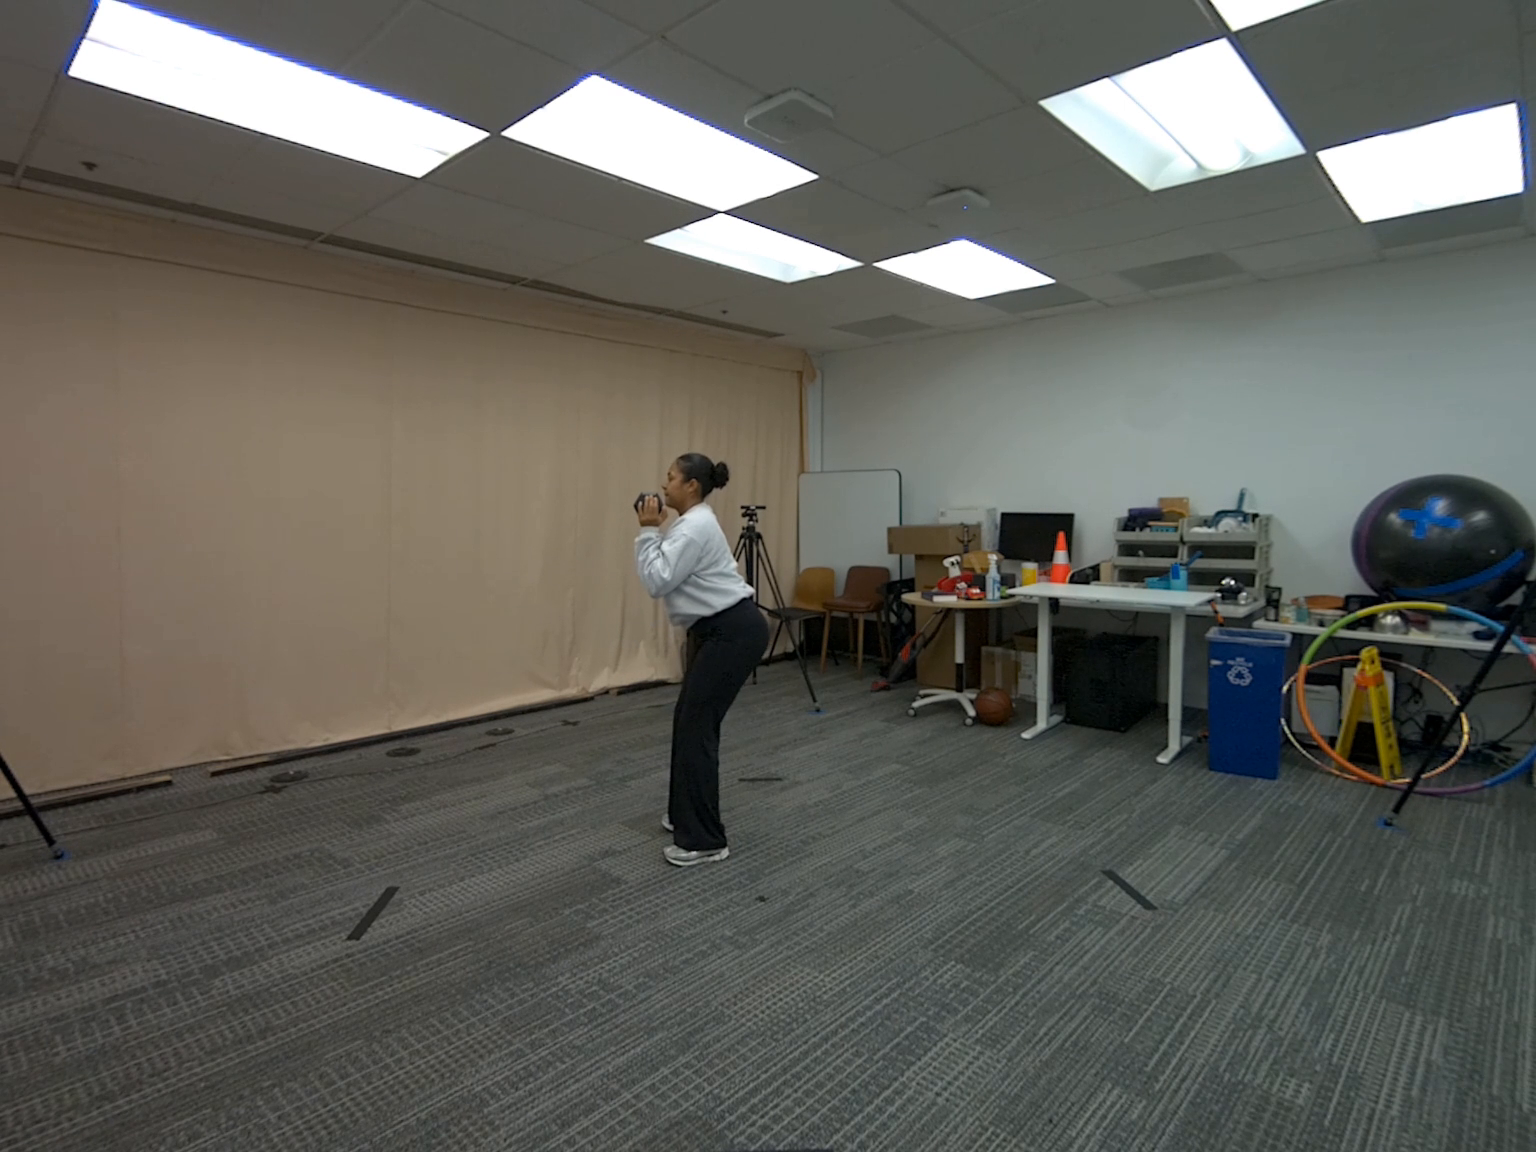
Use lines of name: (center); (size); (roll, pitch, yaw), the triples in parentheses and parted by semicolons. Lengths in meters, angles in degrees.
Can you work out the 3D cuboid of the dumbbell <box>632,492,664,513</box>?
dumbbell: (-0.480, -0.270, 3.451); (0.108, 0.123, 0.295); (35, -2, -7)
